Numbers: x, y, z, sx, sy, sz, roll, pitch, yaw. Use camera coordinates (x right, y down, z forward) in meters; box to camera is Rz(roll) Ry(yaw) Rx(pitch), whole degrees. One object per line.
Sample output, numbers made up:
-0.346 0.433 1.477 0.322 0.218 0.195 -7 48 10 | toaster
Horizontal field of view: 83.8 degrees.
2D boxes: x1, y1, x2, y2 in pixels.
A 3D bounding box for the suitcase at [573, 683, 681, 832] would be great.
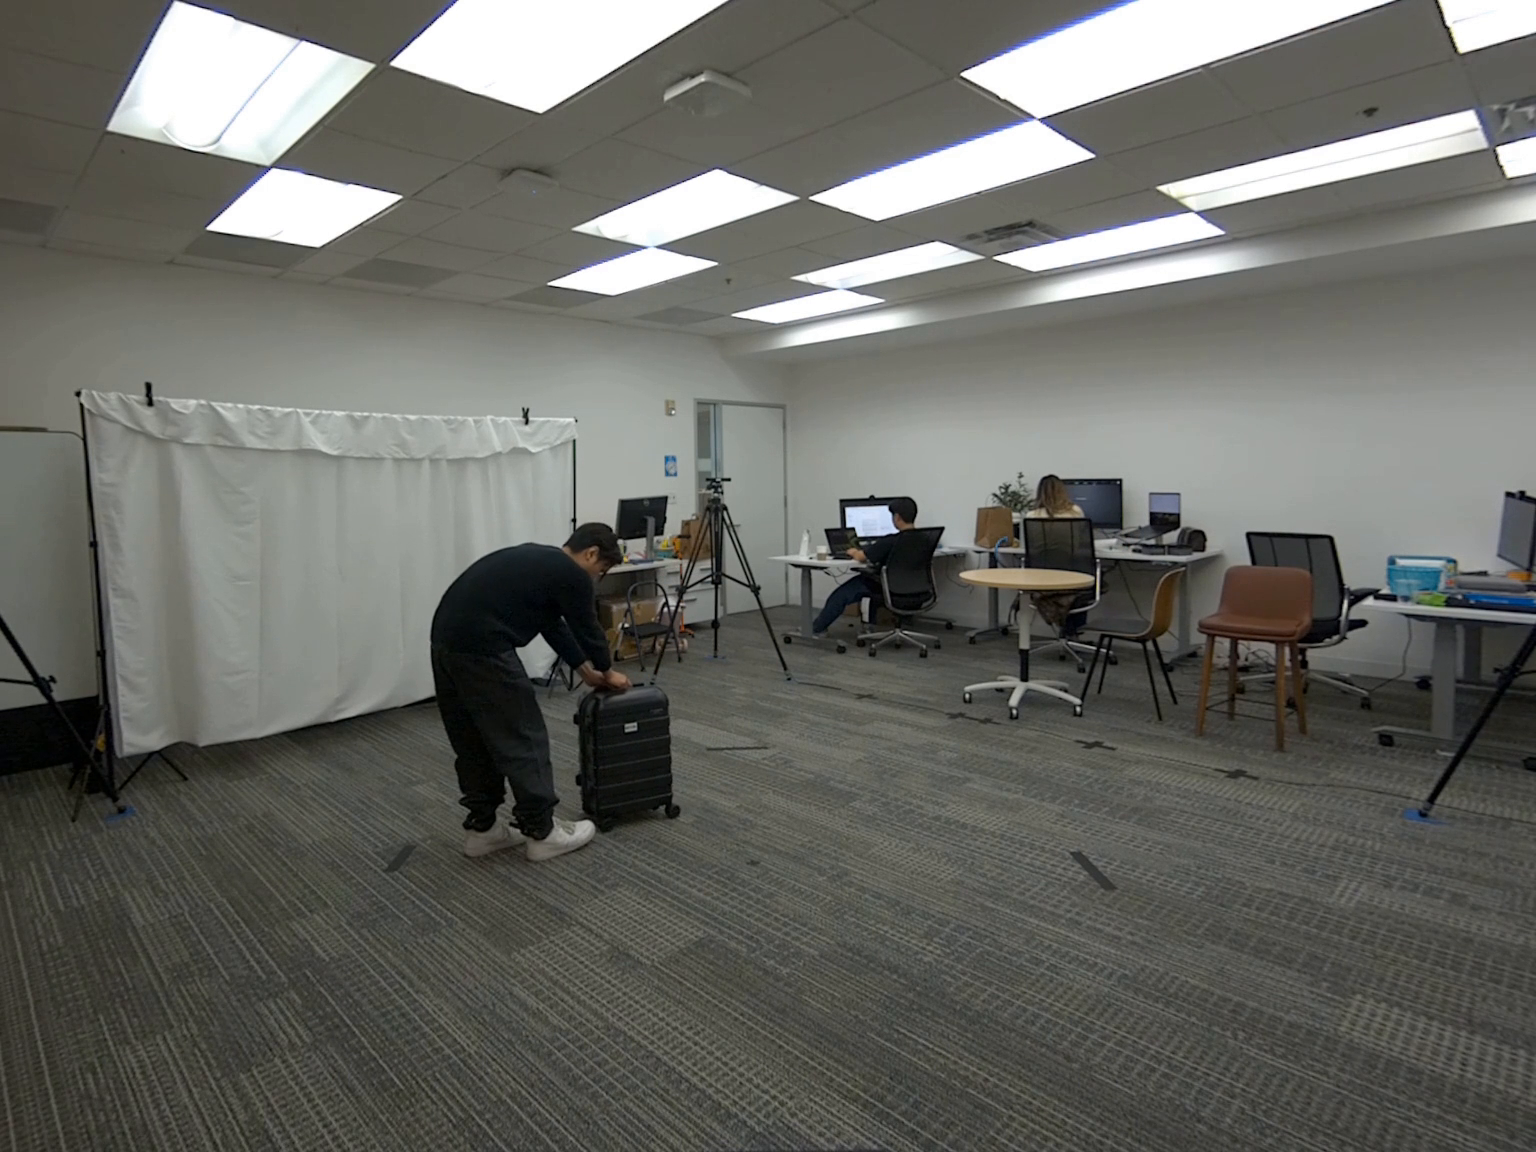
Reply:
-0.593 0.727 3.552 0.367 0.547 0.255 -5 6 -27 | suitcase
